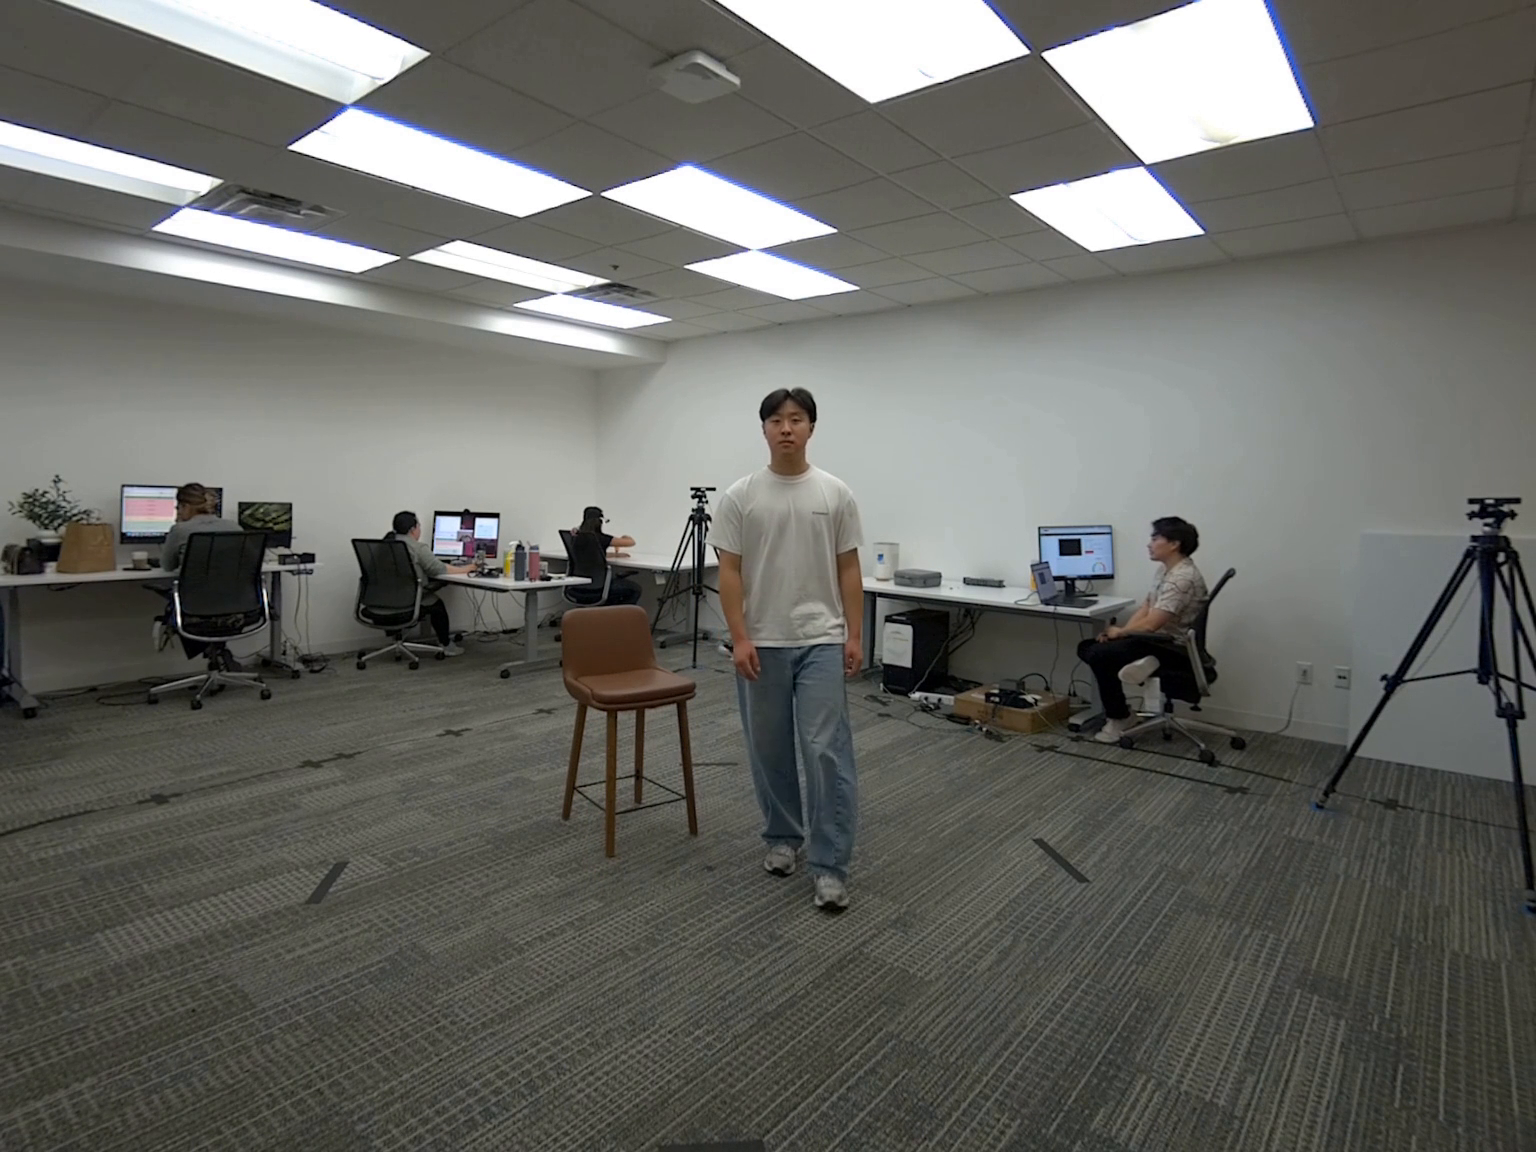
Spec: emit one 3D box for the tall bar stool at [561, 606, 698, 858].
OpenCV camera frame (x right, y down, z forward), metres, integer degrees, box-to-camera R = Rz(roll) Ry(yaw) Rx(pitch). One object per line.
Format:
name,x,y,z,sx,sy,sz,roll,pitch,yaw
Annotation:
tall bar stool,-0.587,0.587,3.466,0.443,0.889,0.482,-1,2,-38
